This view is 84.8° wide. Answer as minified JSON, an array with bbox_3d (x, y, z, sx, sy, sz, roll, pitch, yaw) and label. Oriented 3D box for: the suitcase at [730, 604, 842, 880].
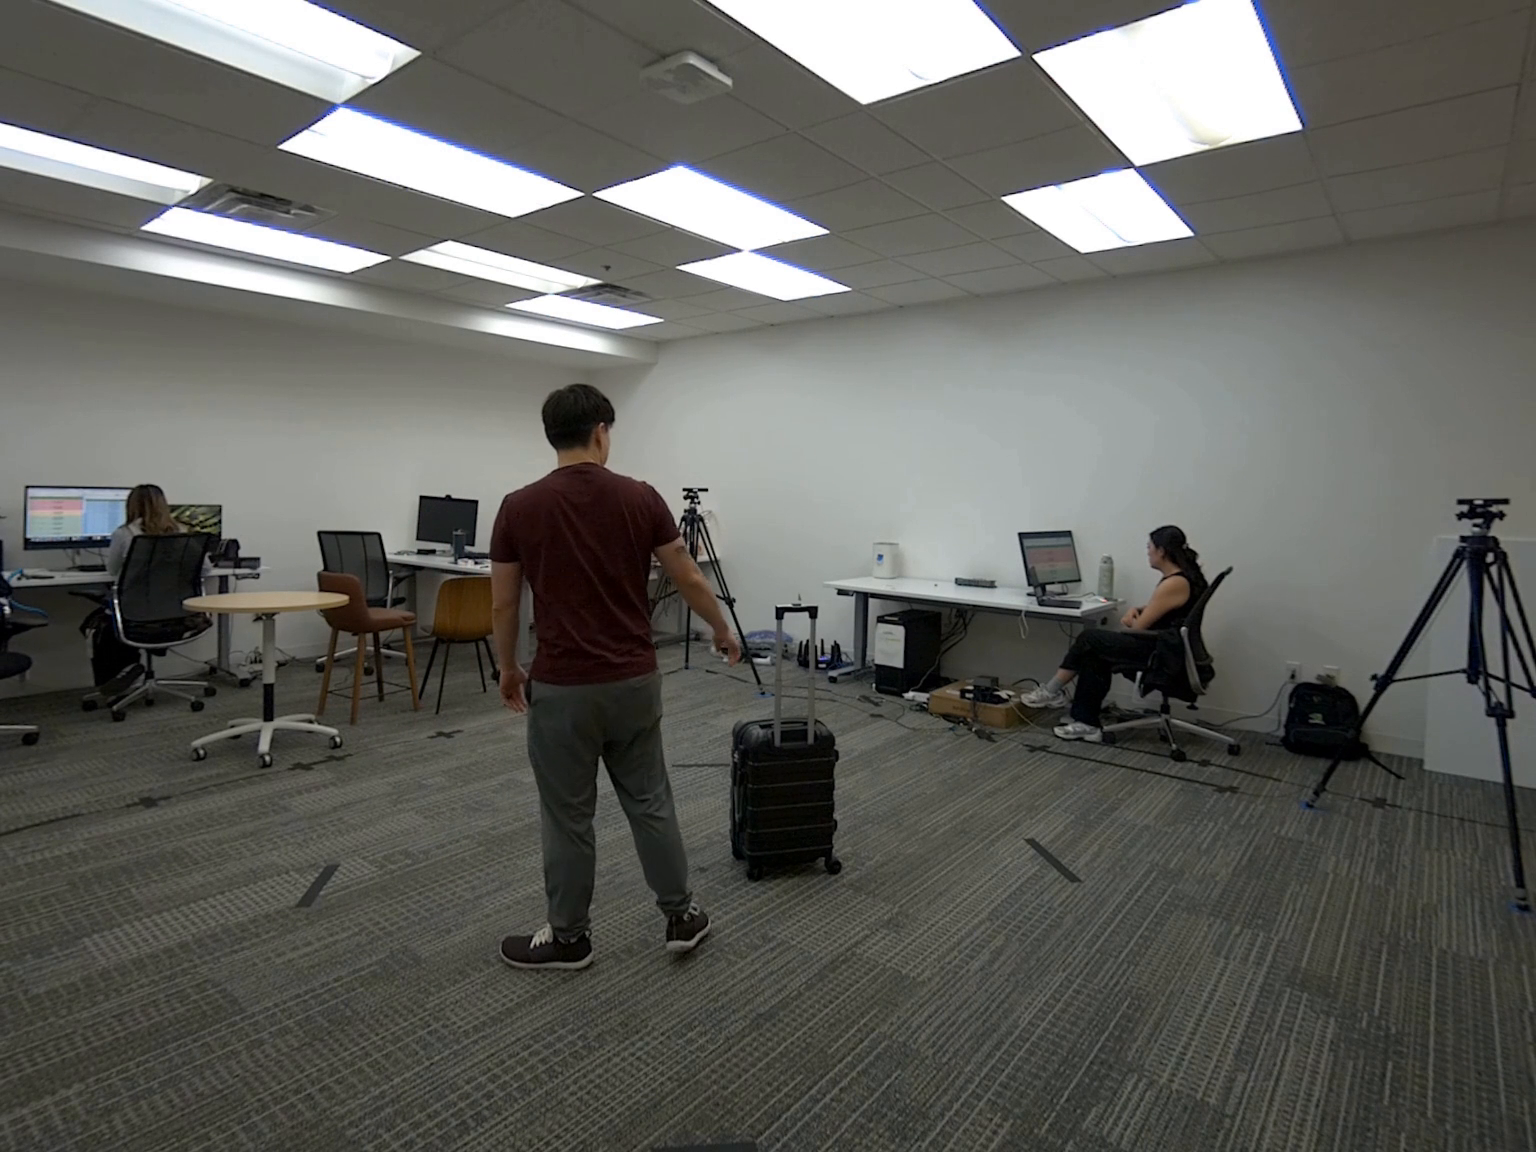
[{"bbox_3d":[0.050,0.591,3.141,0.377,0.978,0.261,1,0,-17],"label":"suitcase"}]
